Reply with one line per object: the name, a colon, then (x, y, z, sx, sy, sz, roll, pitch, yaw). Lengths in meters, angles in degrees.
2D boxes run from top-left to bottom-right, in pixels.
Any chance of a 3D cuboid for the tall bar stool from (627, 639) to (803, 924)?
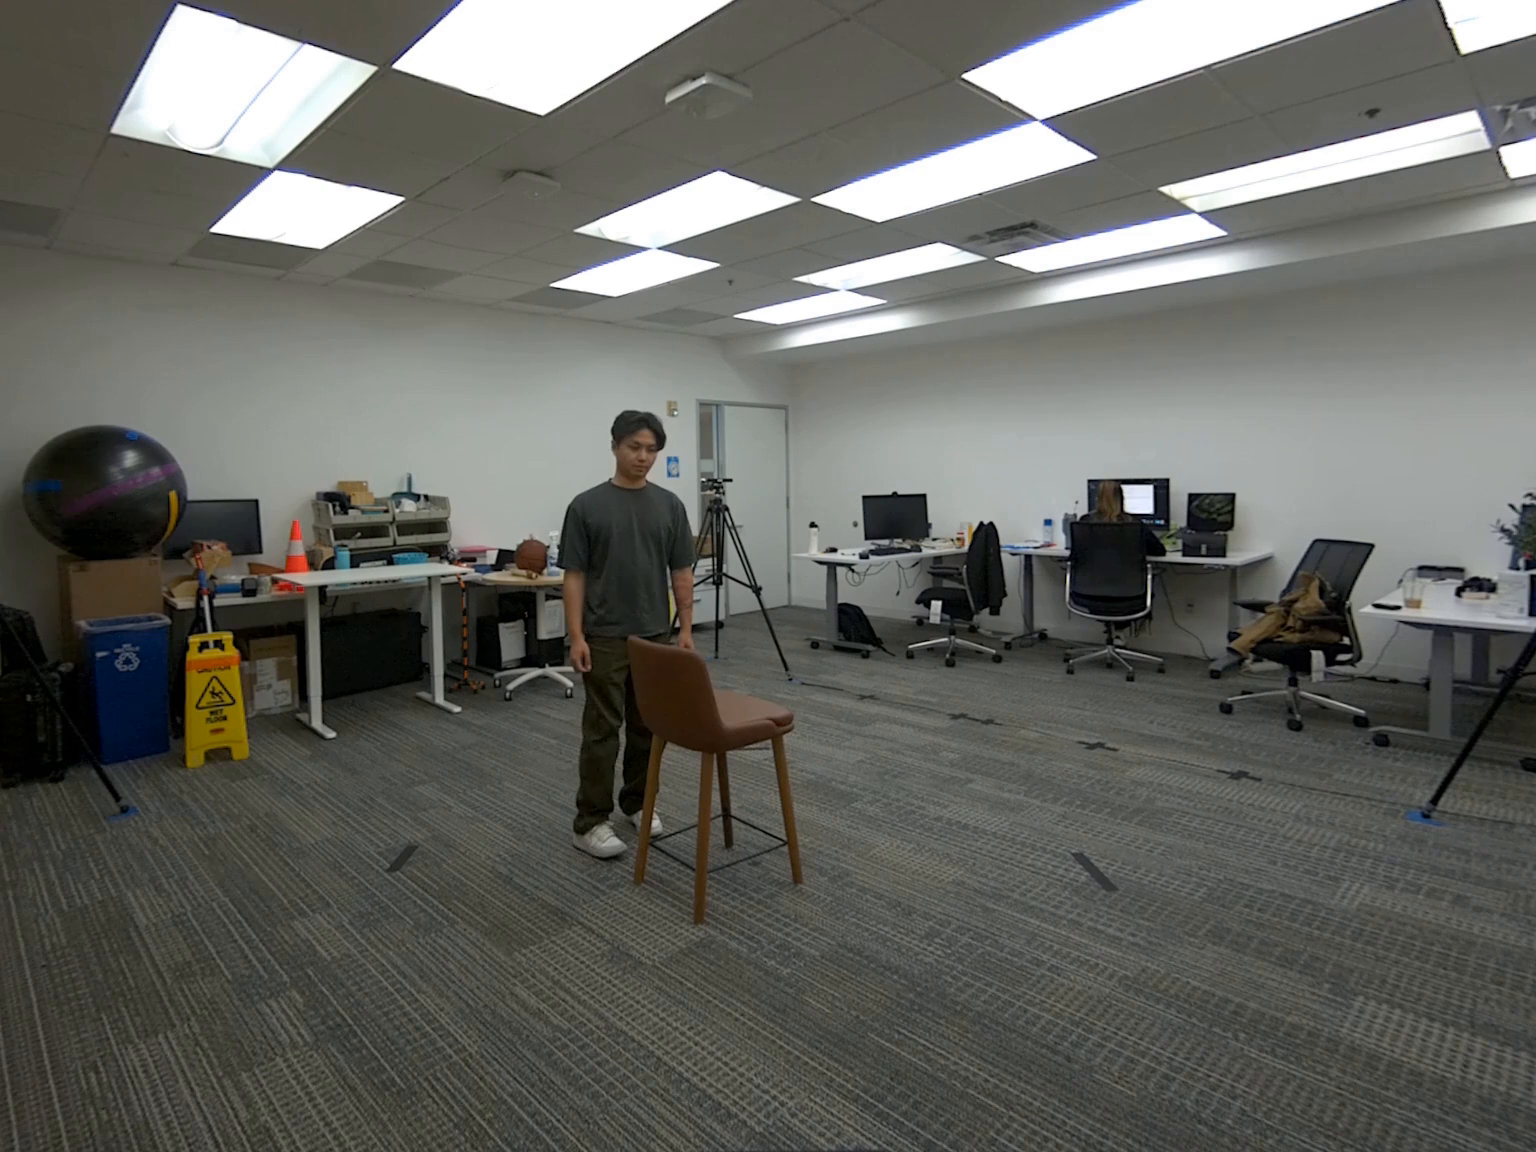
tall bar stool: (-0.184, 0.631, 2.936, 0.456, 0.885, 0.470, -7, 7, -40)
